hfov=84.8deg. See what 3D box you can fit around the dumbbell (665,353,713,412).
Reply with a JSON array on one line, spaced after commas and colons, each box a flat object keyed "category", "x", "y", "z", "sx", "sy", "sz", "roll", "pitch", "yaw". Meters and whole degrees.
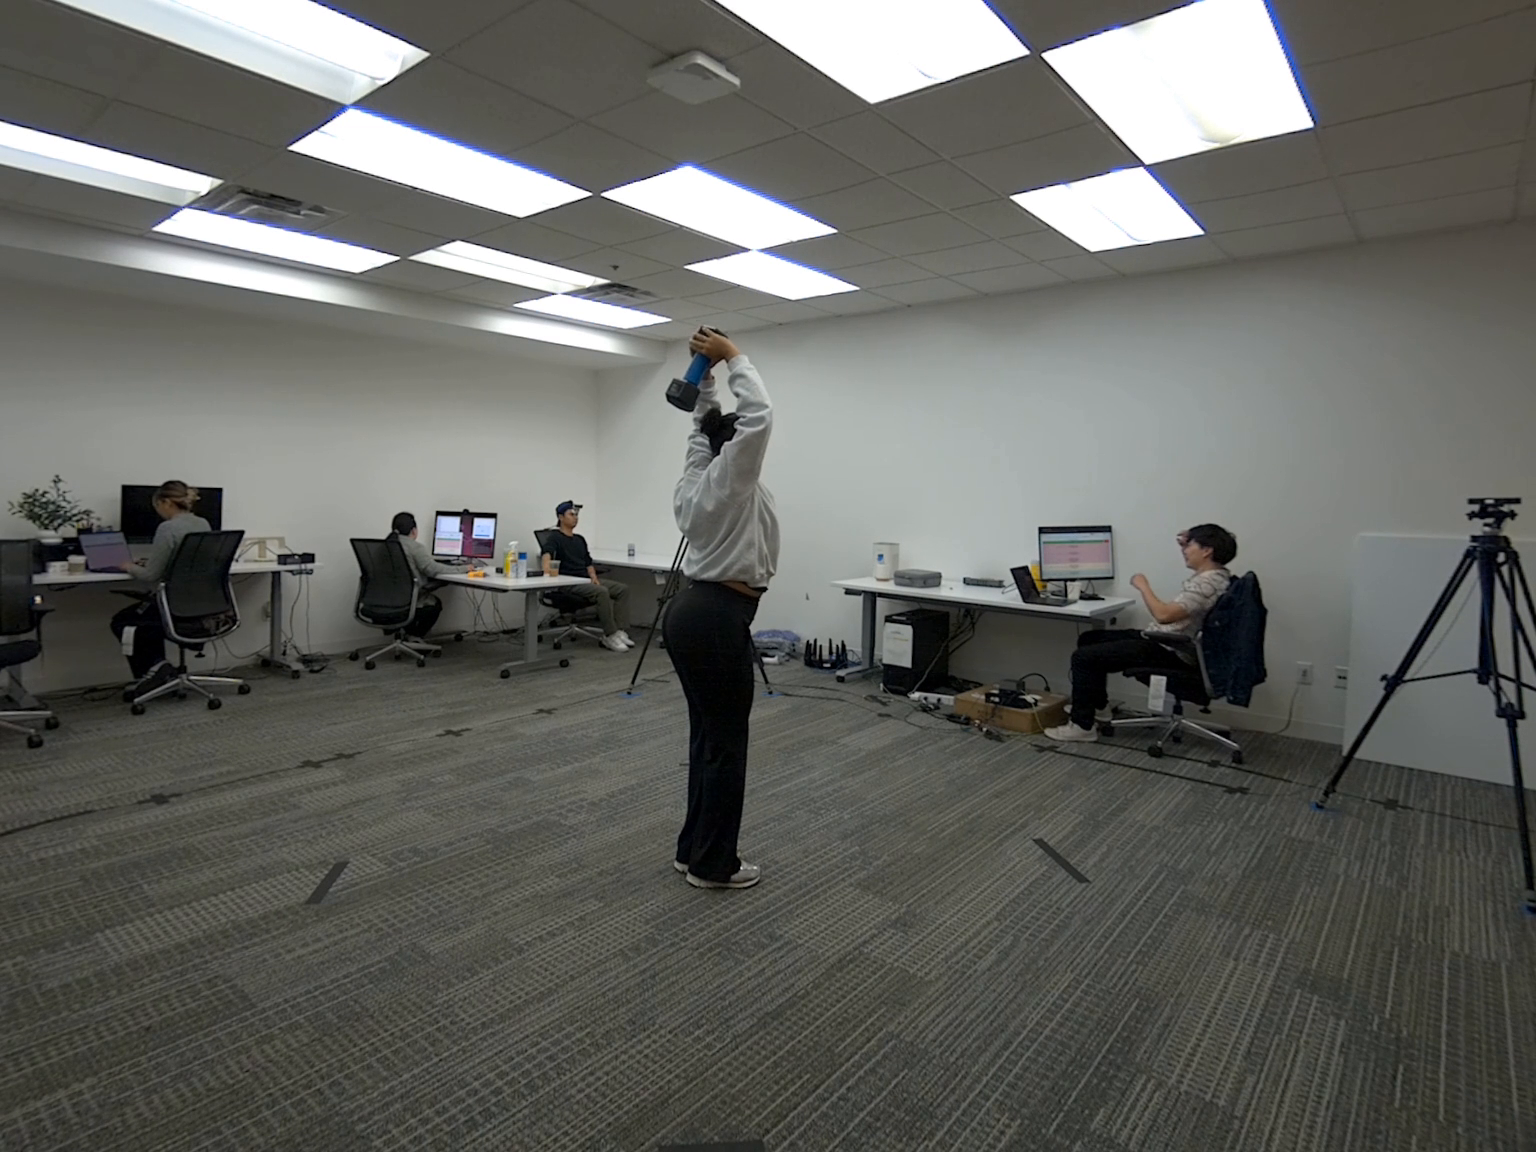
[{"category": "dumbbell", "x": -0.260, "y": -0.717, "z": 2.961, "sx": 0.127, "sy": 0.294, "sz": 0.105, "roll": 23, "pitch": -7, "yaw": 28}]
